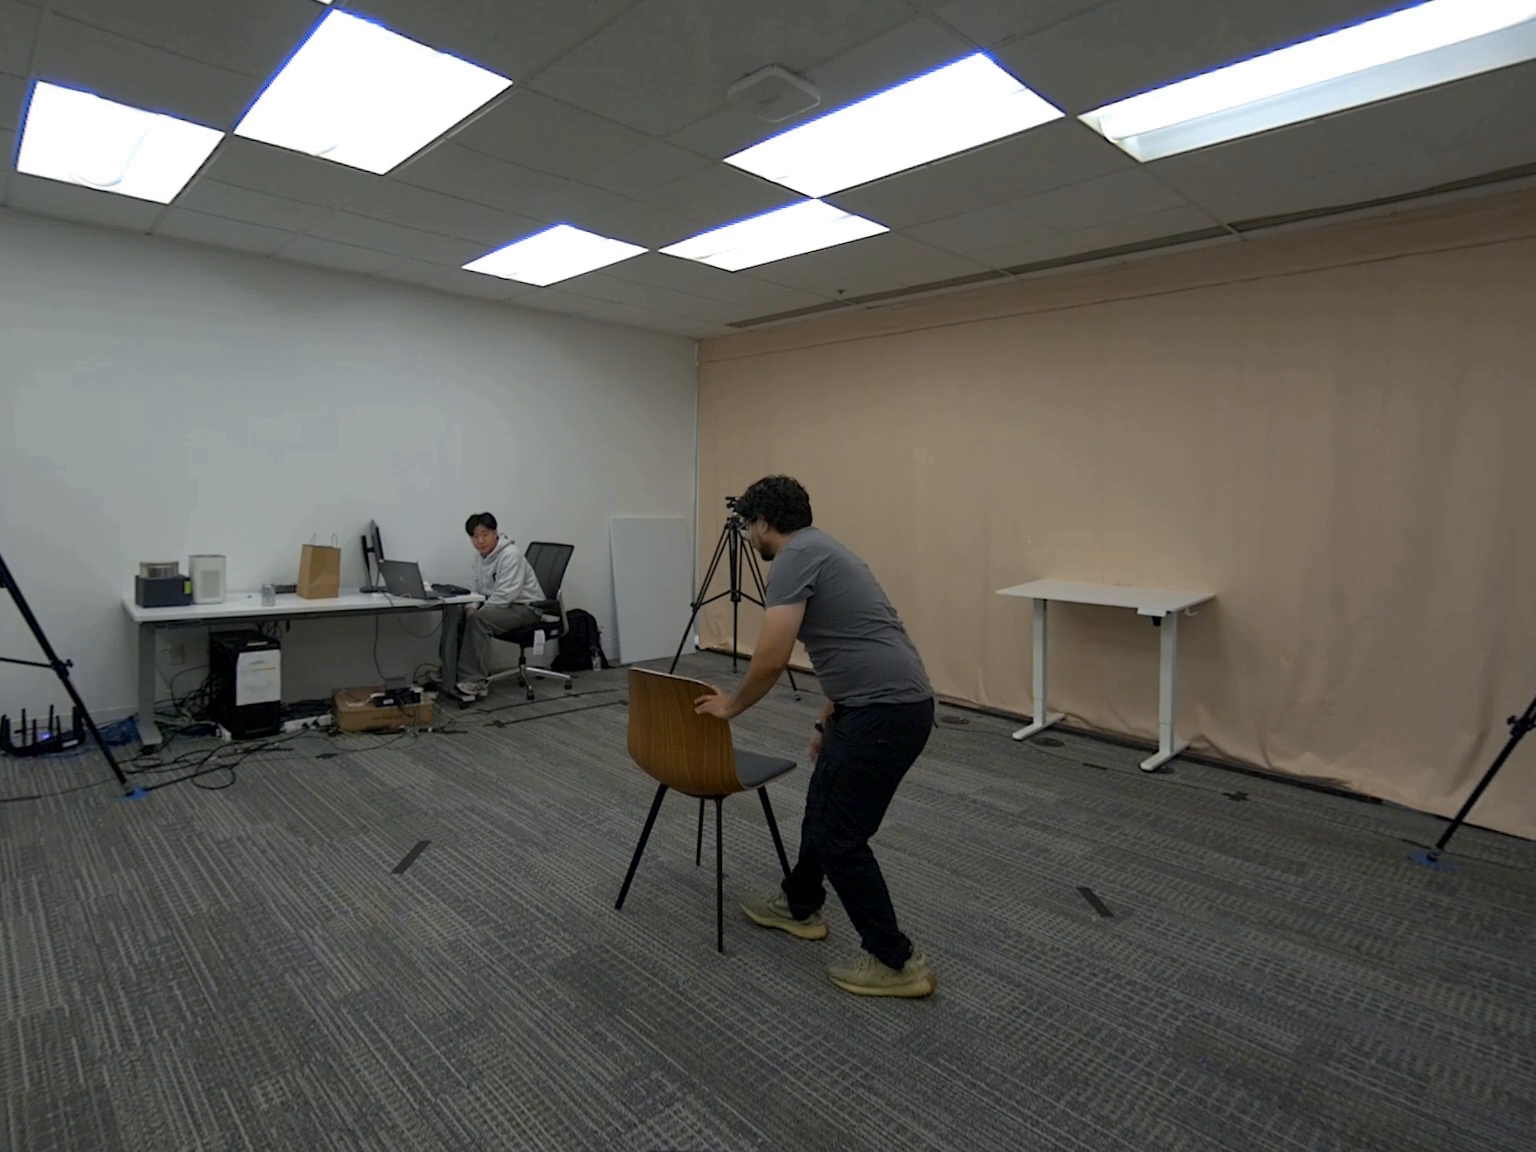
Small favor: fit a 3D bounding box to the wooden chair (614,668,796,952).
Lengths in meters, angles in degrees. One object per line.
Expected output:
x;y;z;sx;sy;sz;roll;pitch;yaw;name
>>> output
-0.199;0.698;2.867;0.489;0.873;0.513;3;8;34;wooden chair
